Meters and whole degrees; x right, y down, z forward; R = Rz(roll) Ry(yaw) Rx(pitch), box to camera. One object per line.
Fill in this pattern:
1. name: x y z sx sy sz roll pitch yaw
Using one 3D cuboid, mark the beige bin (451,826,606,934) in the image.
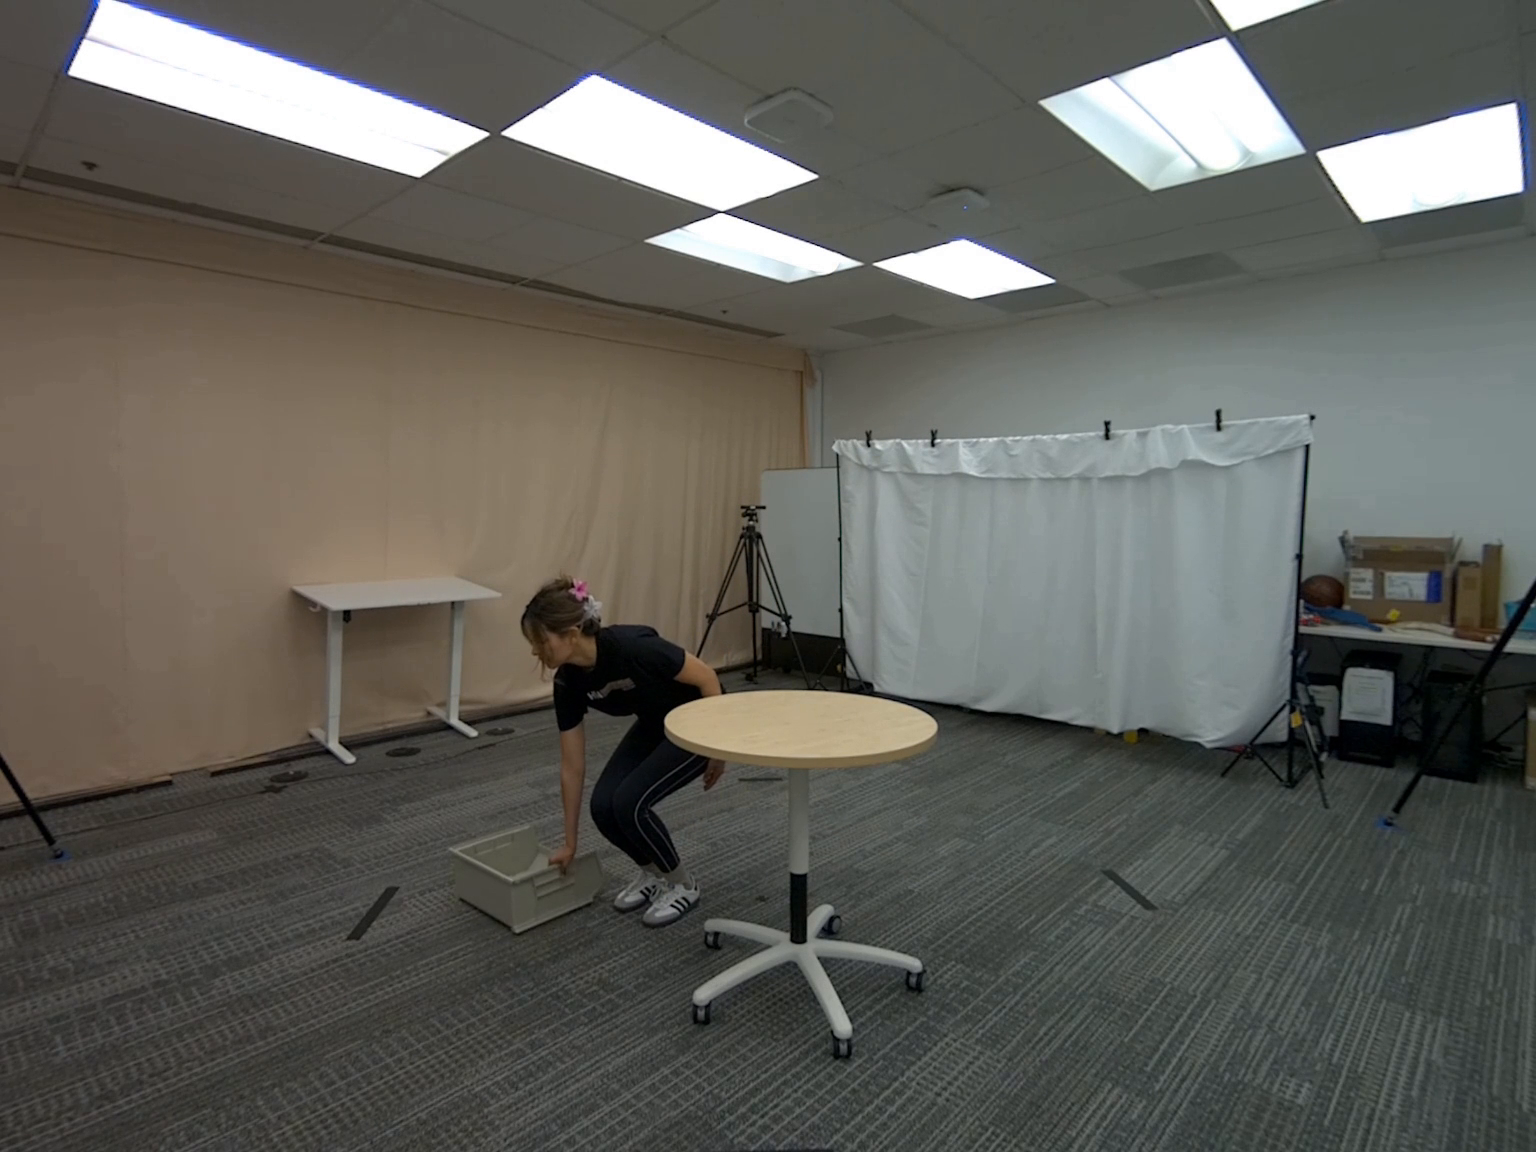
1. beige bin: -0.866 1.058 2.994 0.436 0.188 0.366 2 6 42
